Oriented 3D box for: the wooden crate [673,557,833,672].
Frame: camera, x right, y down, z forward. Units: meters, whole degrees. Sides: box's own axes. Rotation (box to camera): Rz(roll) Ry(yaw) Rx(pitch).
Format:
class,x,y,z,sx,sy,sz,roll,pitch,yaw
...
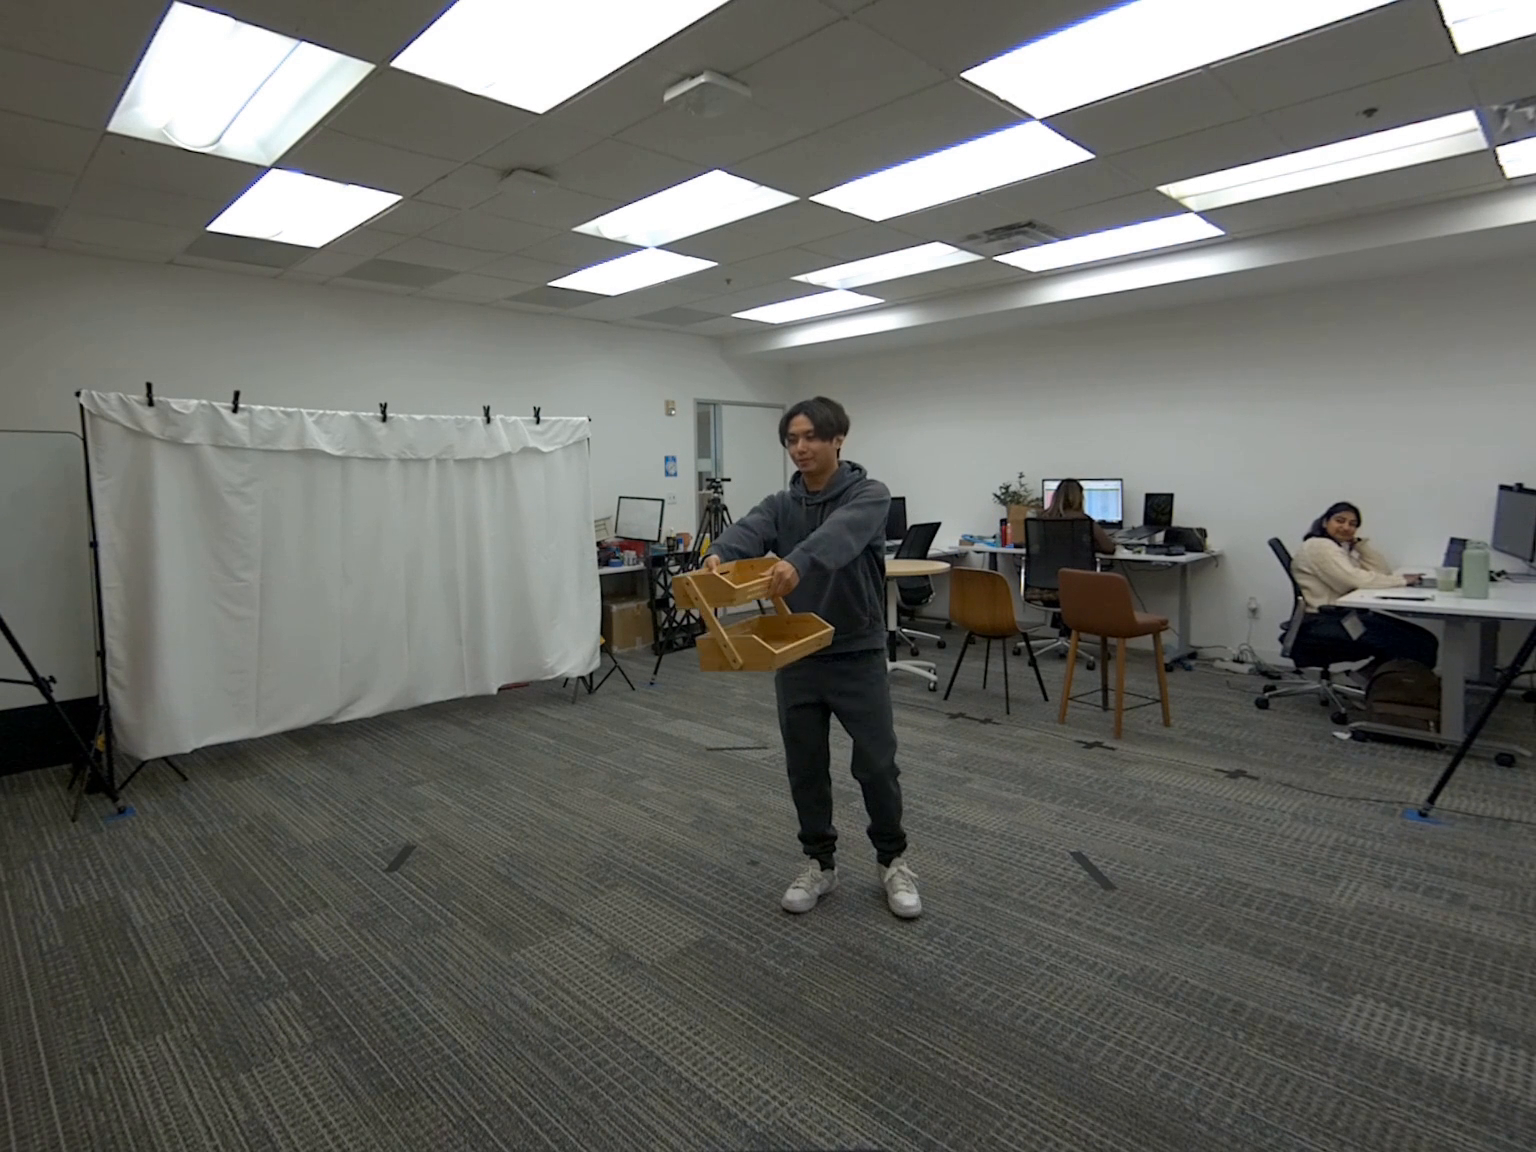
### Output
class,x,y,z,sx,sy,sz,roll,pitch,yaw
wooden crate,-0.042,0.095,2.328,0.309,0.273,0.317,-7,4,35
